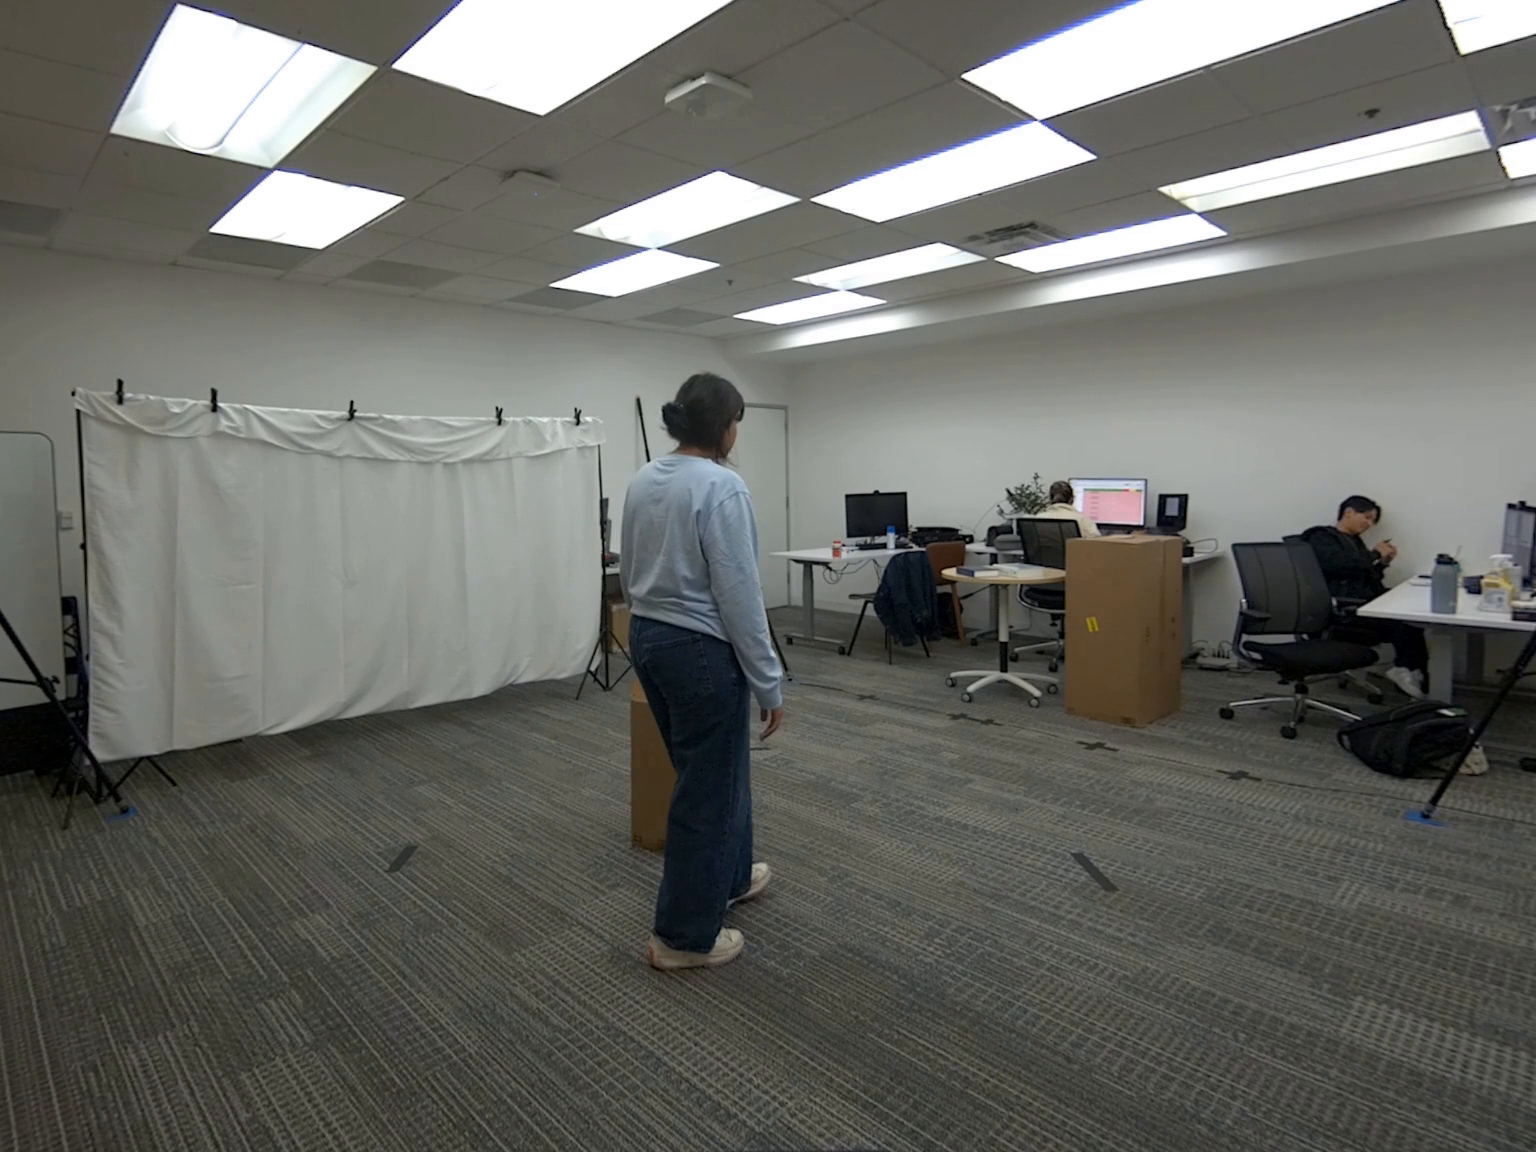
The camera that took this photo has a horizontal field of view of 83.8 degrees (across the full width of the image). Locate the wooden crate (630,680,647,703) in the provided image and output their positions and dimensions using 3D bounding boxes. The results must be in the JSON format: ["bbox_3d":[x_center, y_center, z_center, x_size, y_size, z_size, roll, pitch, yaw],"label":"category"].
[{"bbox_3d":[-0.342,0.328,3.338,0.309,0.272,0.318,3,6,25],"label":"wooden crate"}]
